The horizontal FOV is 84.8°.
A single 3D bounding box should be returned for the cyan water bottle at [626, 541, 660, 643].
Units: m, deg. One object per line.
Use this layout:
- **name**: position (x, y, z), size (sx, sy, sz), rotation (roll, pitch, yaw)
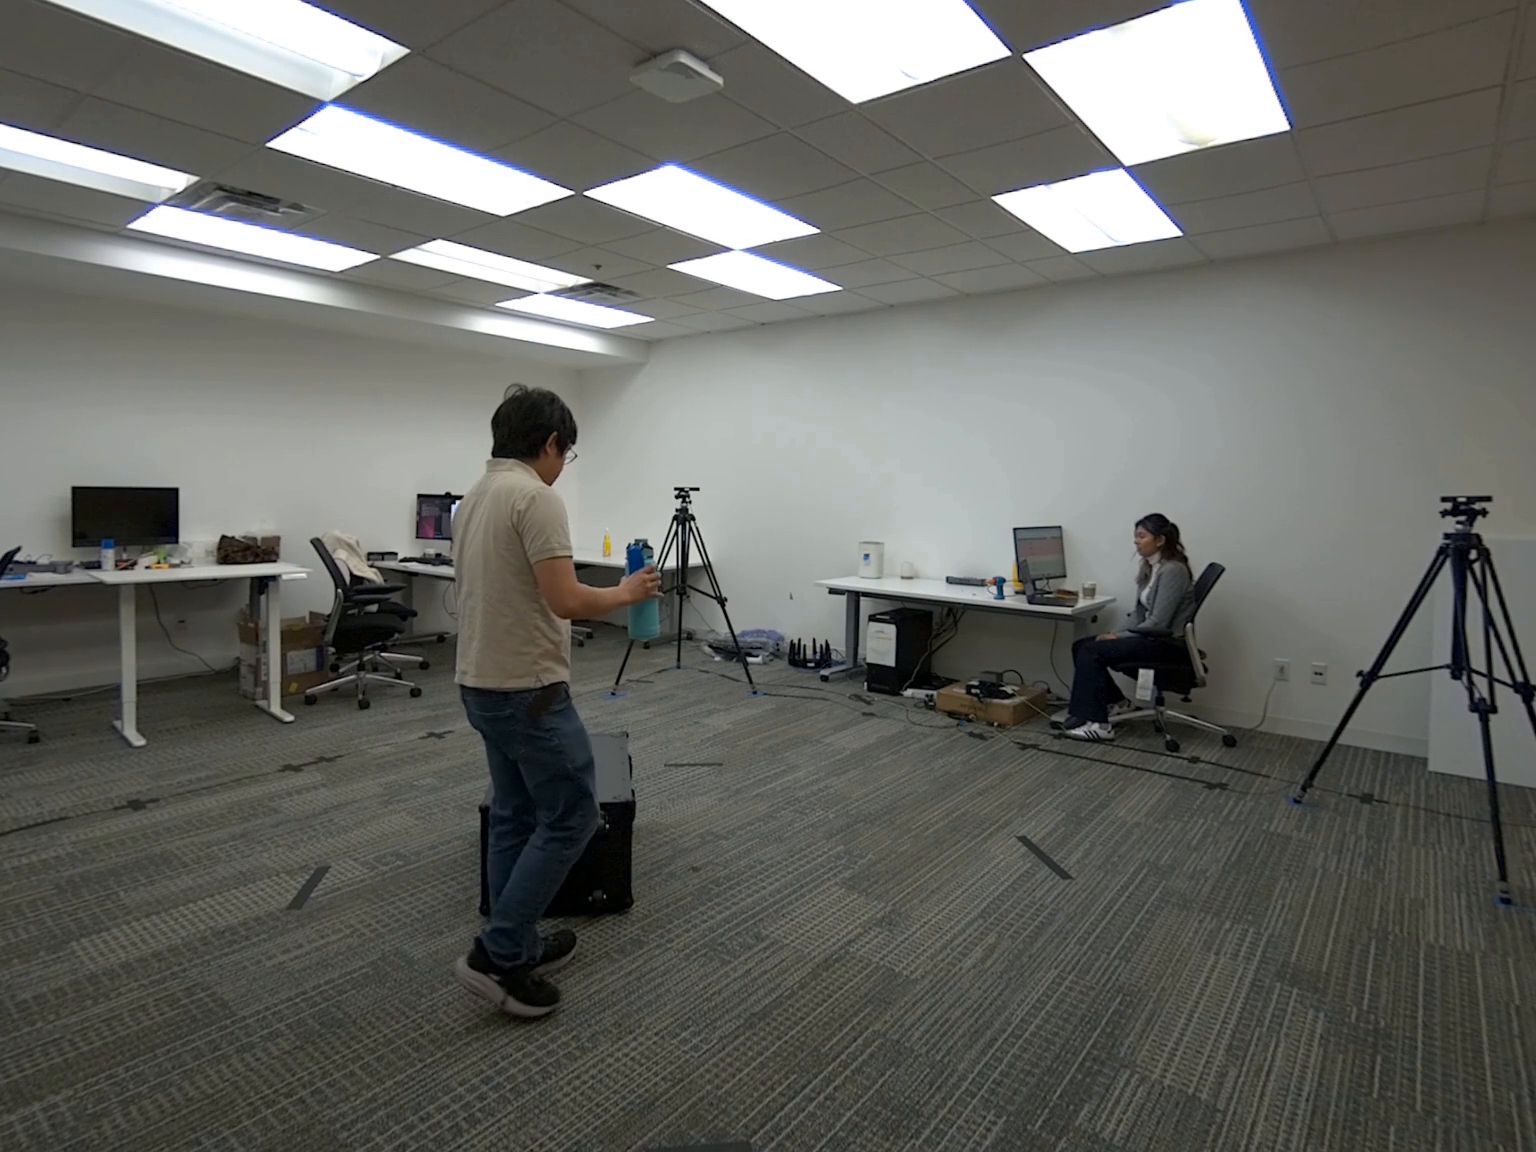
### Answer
- **cyan water bottle**: position (-0.385, 0.034, 2.443), size (0.092, 0.282, 0.093), rotation (-1, 5, -2)
